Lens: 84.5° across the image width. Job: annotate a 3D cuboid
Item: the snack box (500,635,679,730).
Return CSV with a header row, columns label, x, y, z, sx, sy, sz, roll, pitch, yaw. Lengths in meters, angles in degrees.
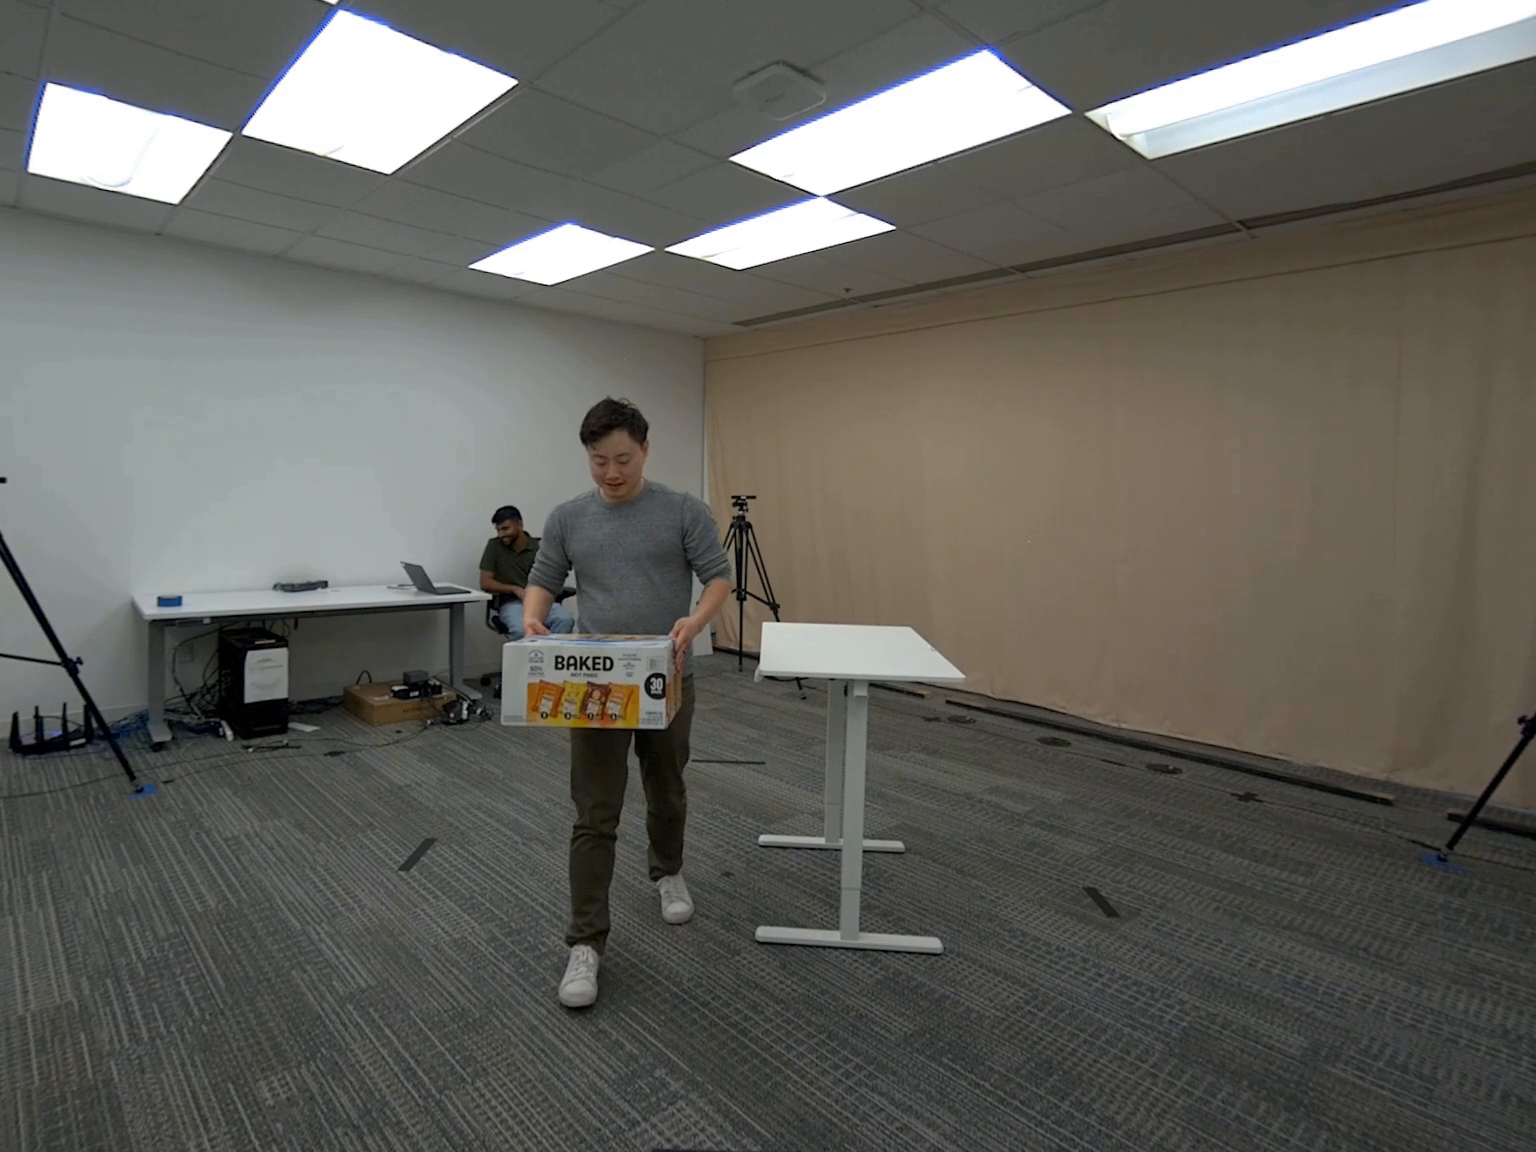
label,x,y,z,sx,sy,sz,roll,pitch,yaw
snack box,-0.456,0.269,2.207,0.406,0.206,0.339,1,0,1
